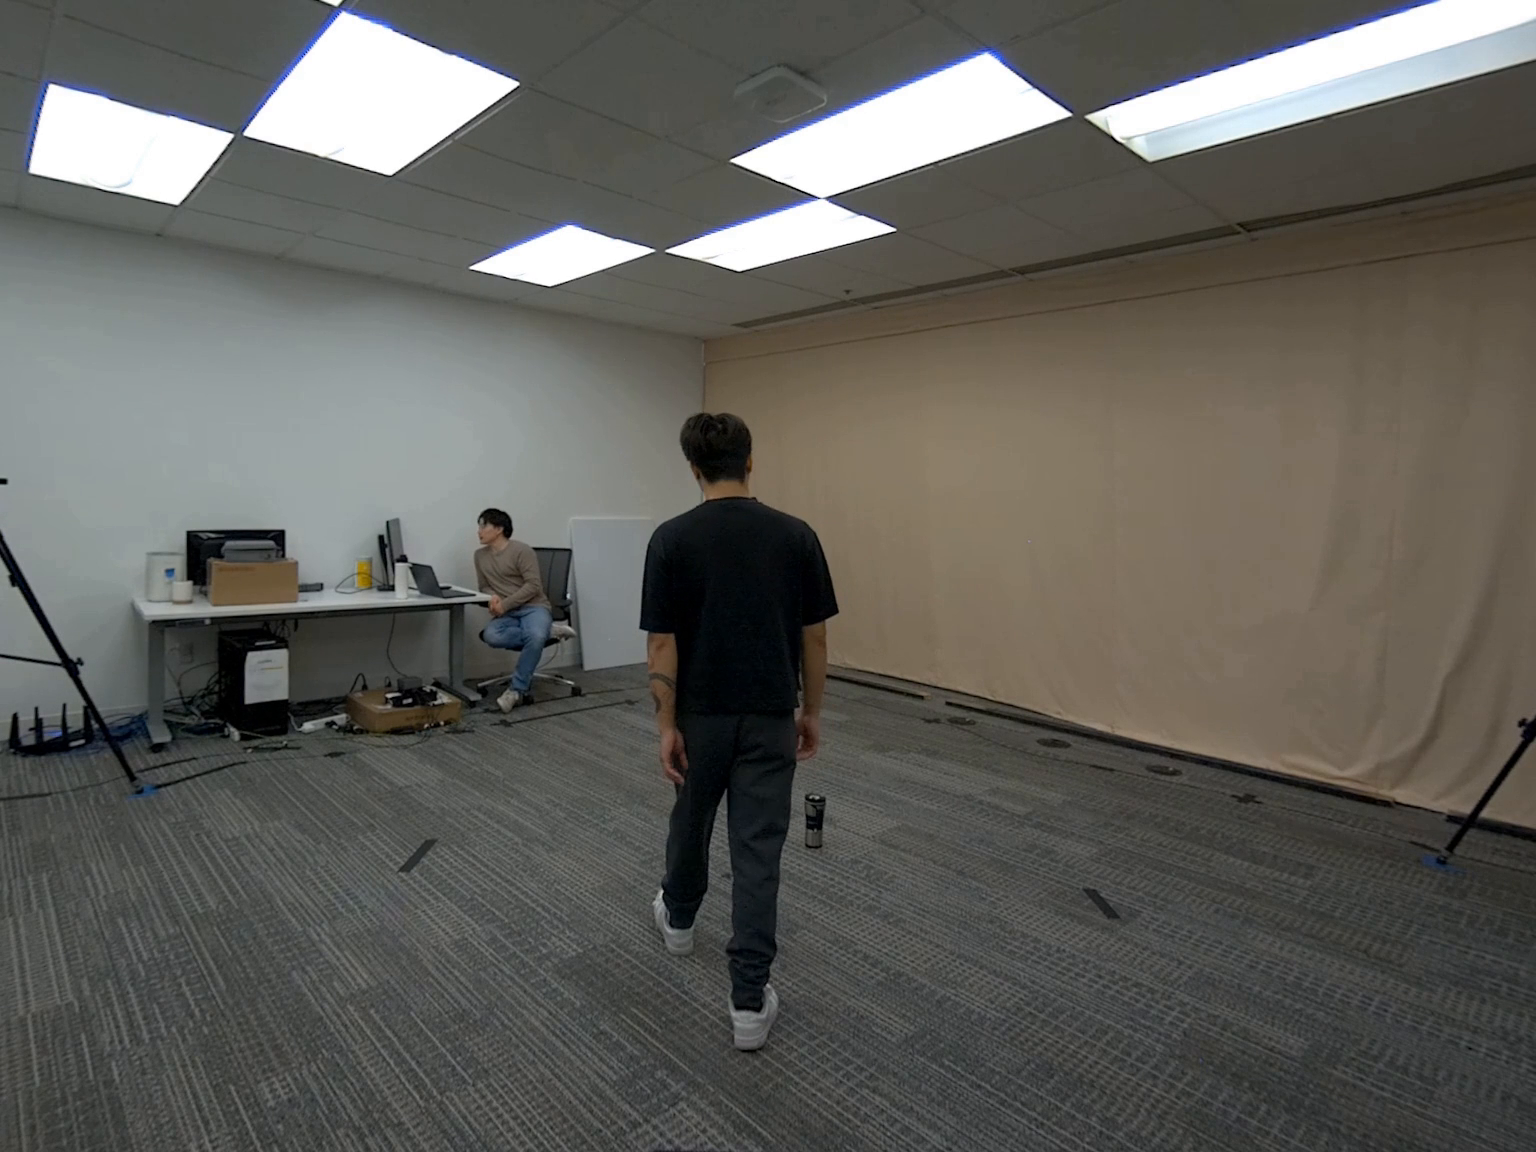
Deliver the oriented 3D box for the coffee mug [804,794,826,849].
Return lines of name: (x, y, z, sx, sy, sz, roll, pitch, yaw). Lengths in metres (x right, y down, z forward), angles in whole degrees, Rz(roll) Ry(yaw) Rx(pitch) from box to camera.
coffee mug: (0.163, 0.988, 3.385, 0.119, 0.203, 0.090, 6, 2, -41)
